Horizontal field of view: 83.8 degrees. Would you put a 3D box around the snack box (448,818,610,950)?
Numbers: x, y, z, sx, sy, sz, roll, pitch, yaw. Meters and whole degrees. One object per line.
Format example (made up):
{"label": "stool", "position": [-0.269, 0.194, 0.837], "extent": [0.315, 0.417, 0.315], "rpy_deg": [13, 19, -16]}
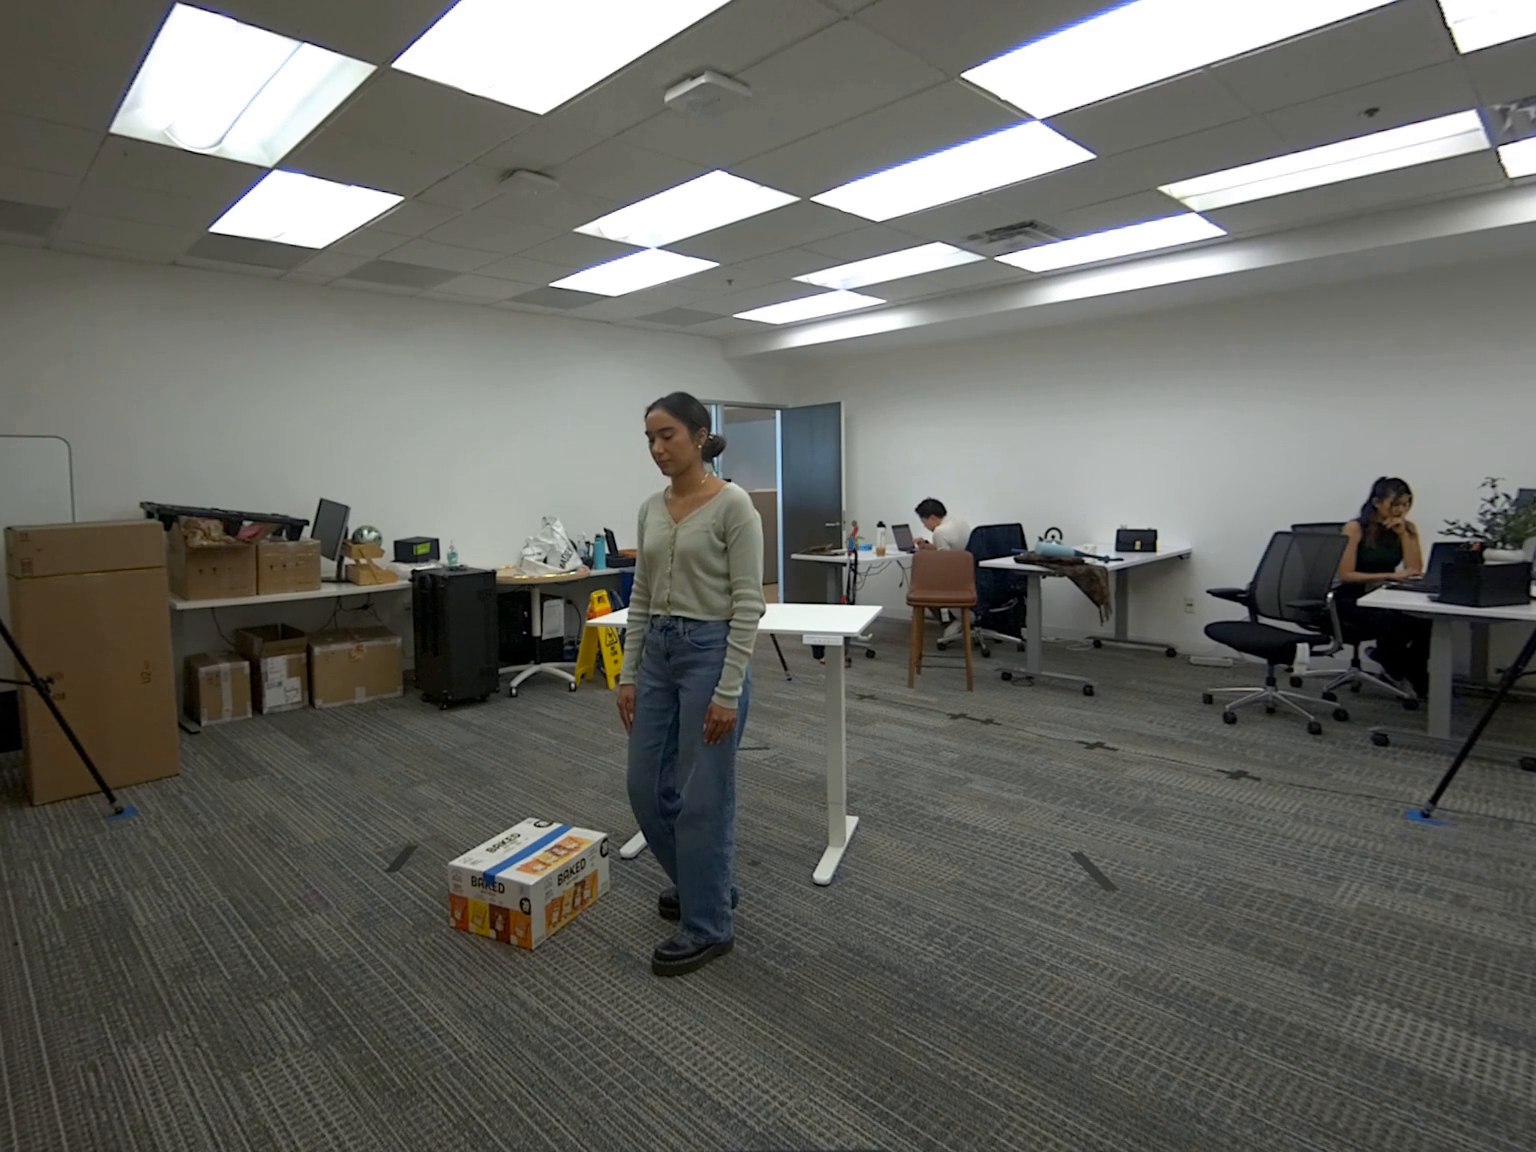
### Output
{"label": "snack box", "position": [-0.774, 0.992, 2.802], "extent": [0.348, 0.205, 0.397], "rpy_deg": [2, 7, 25]}
